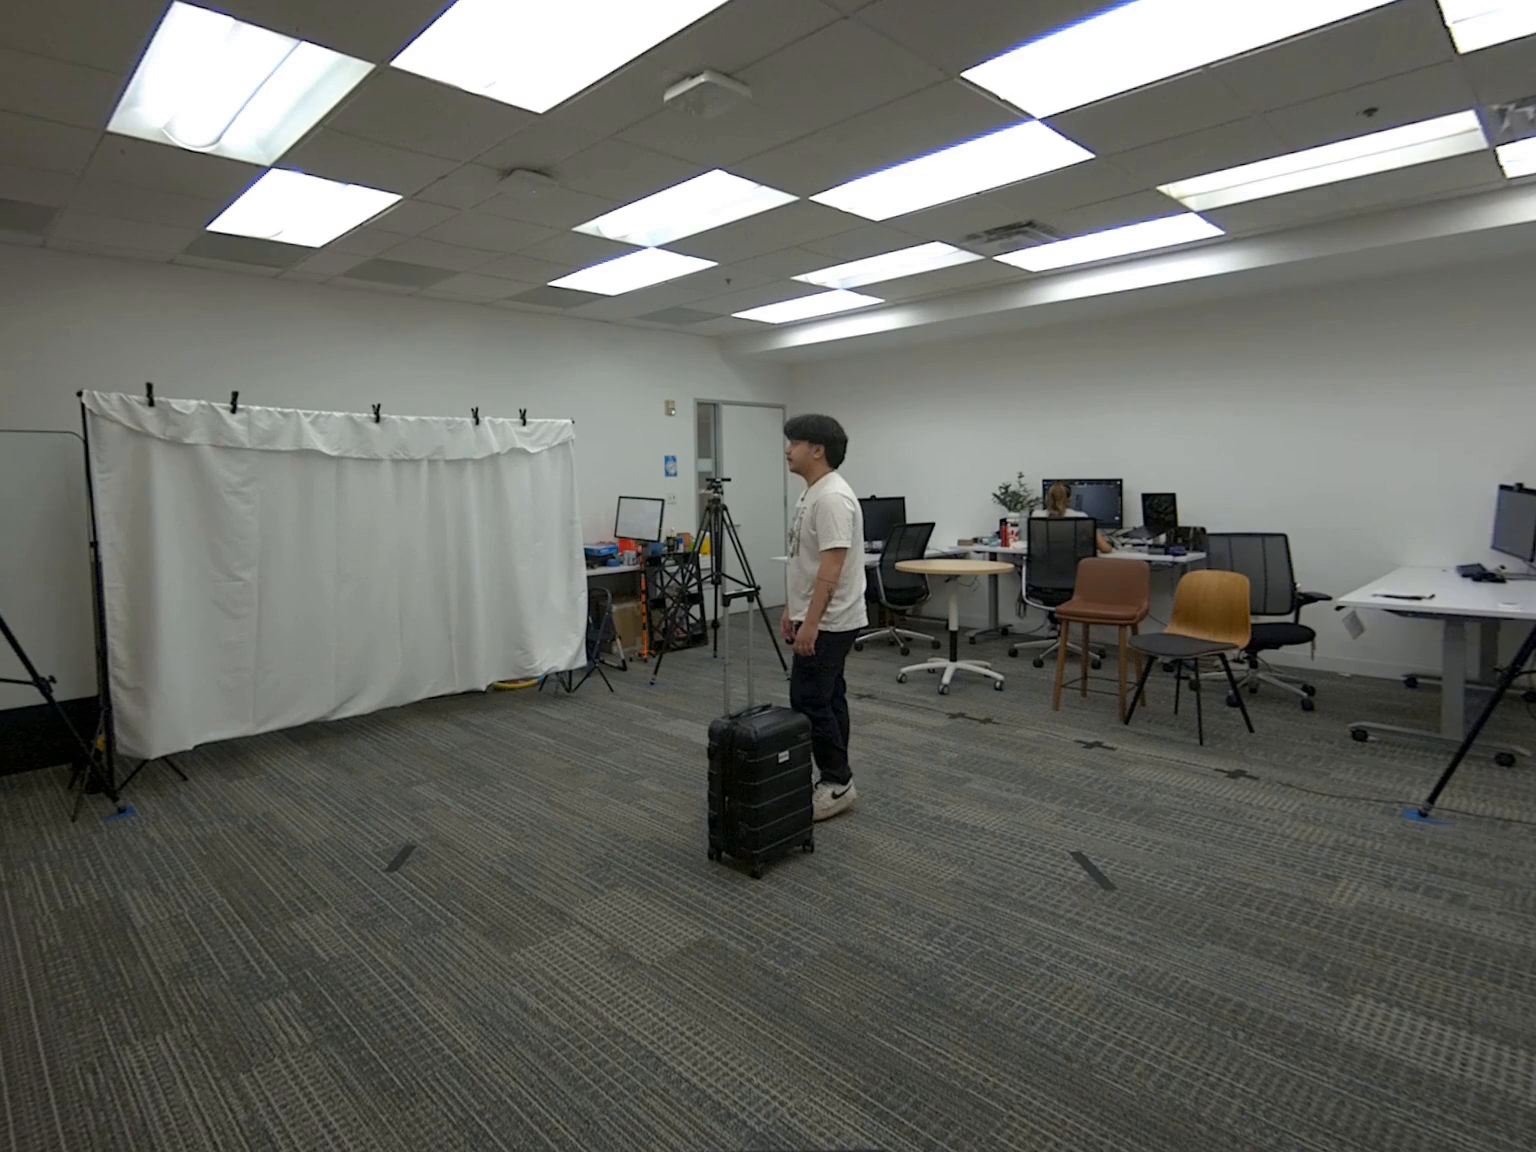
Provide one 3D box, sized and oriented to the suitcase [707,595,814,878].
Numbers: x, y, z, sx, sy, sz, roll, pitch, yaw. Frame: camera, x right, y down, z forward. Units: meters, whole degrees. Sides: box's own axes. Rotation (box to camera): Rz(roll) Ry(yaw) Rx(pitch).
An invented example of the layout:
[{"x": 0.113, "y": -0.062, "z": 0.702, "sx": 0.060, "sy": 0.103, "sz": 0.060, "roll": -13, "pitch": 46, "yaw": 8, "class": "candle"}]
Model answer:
[{"x": -0.022, "y": 0.562, "z": 3.117, "sx": 0.265, "sy": 0.973, "sz": 0.374, "roll": 8, "pitch": 9, "yaw": 44, "class": "suitcase"}]
